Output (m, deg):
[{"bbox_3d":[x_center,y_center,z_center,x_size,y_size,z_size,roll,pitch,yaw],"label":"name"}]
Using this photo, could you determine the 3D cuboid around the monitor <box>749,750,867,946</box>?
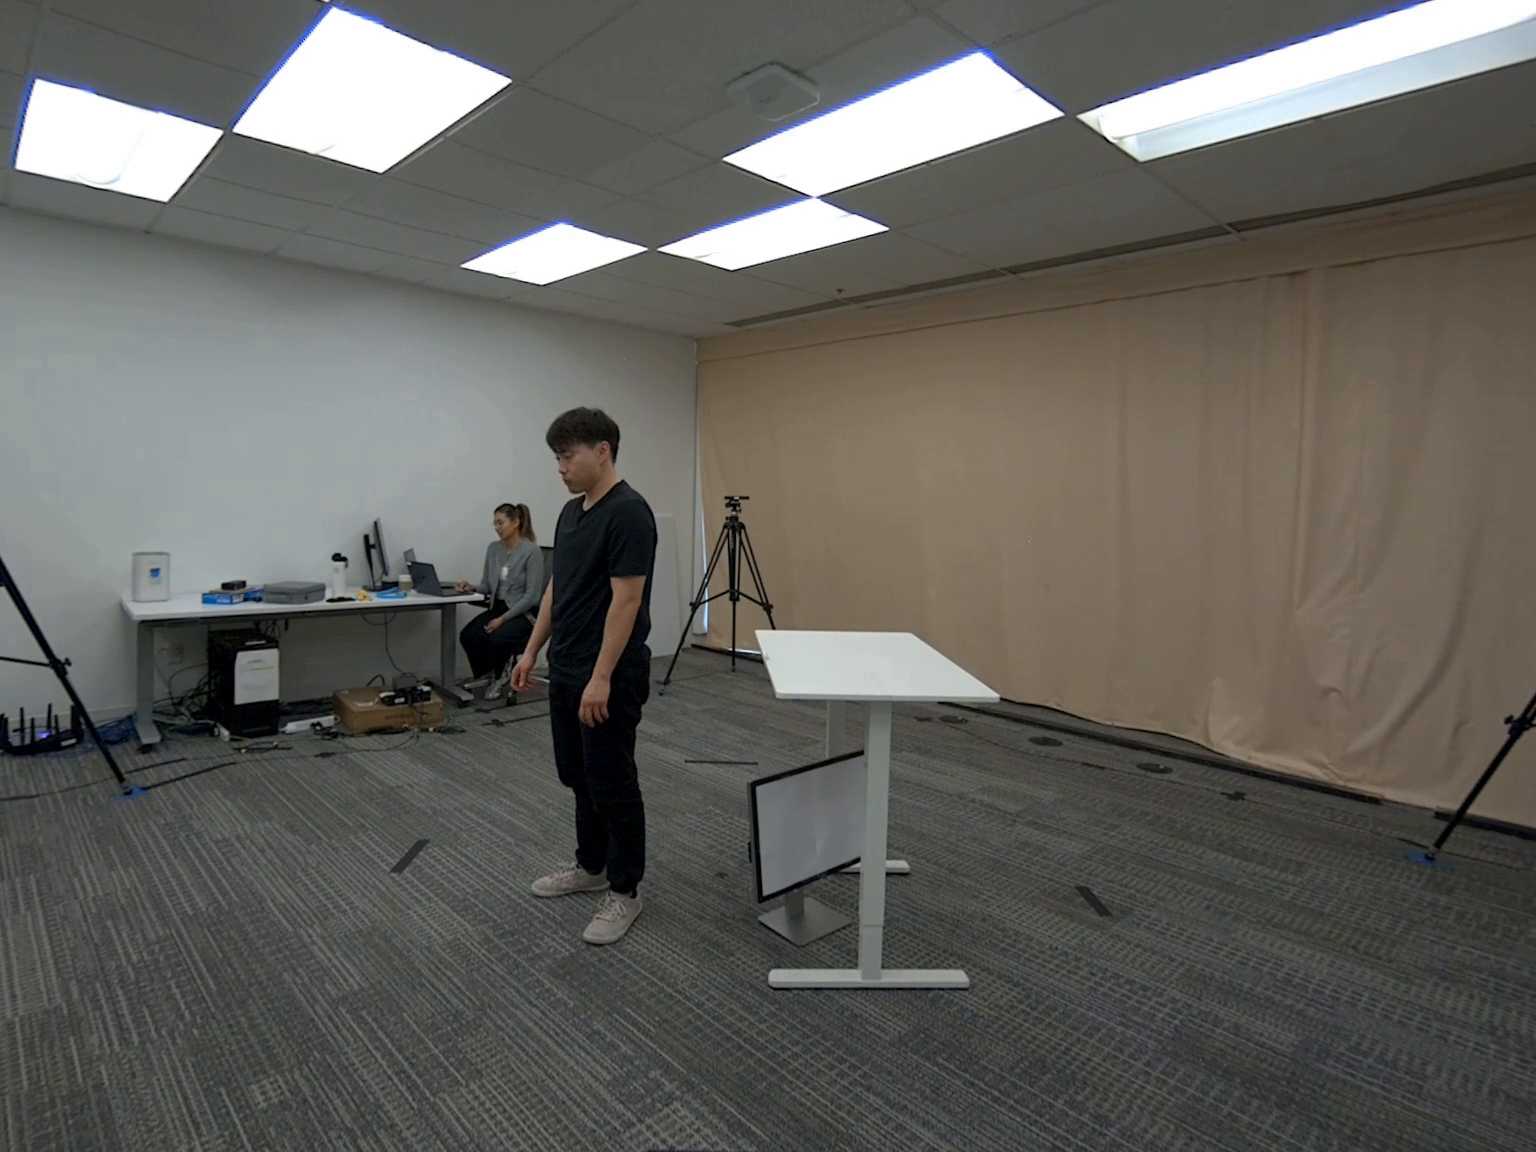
[{"bbox_3d":[0.120,0.877,2.743,0.527,0.519,0.192,-5,12,-43],"label":"monitor"}]
